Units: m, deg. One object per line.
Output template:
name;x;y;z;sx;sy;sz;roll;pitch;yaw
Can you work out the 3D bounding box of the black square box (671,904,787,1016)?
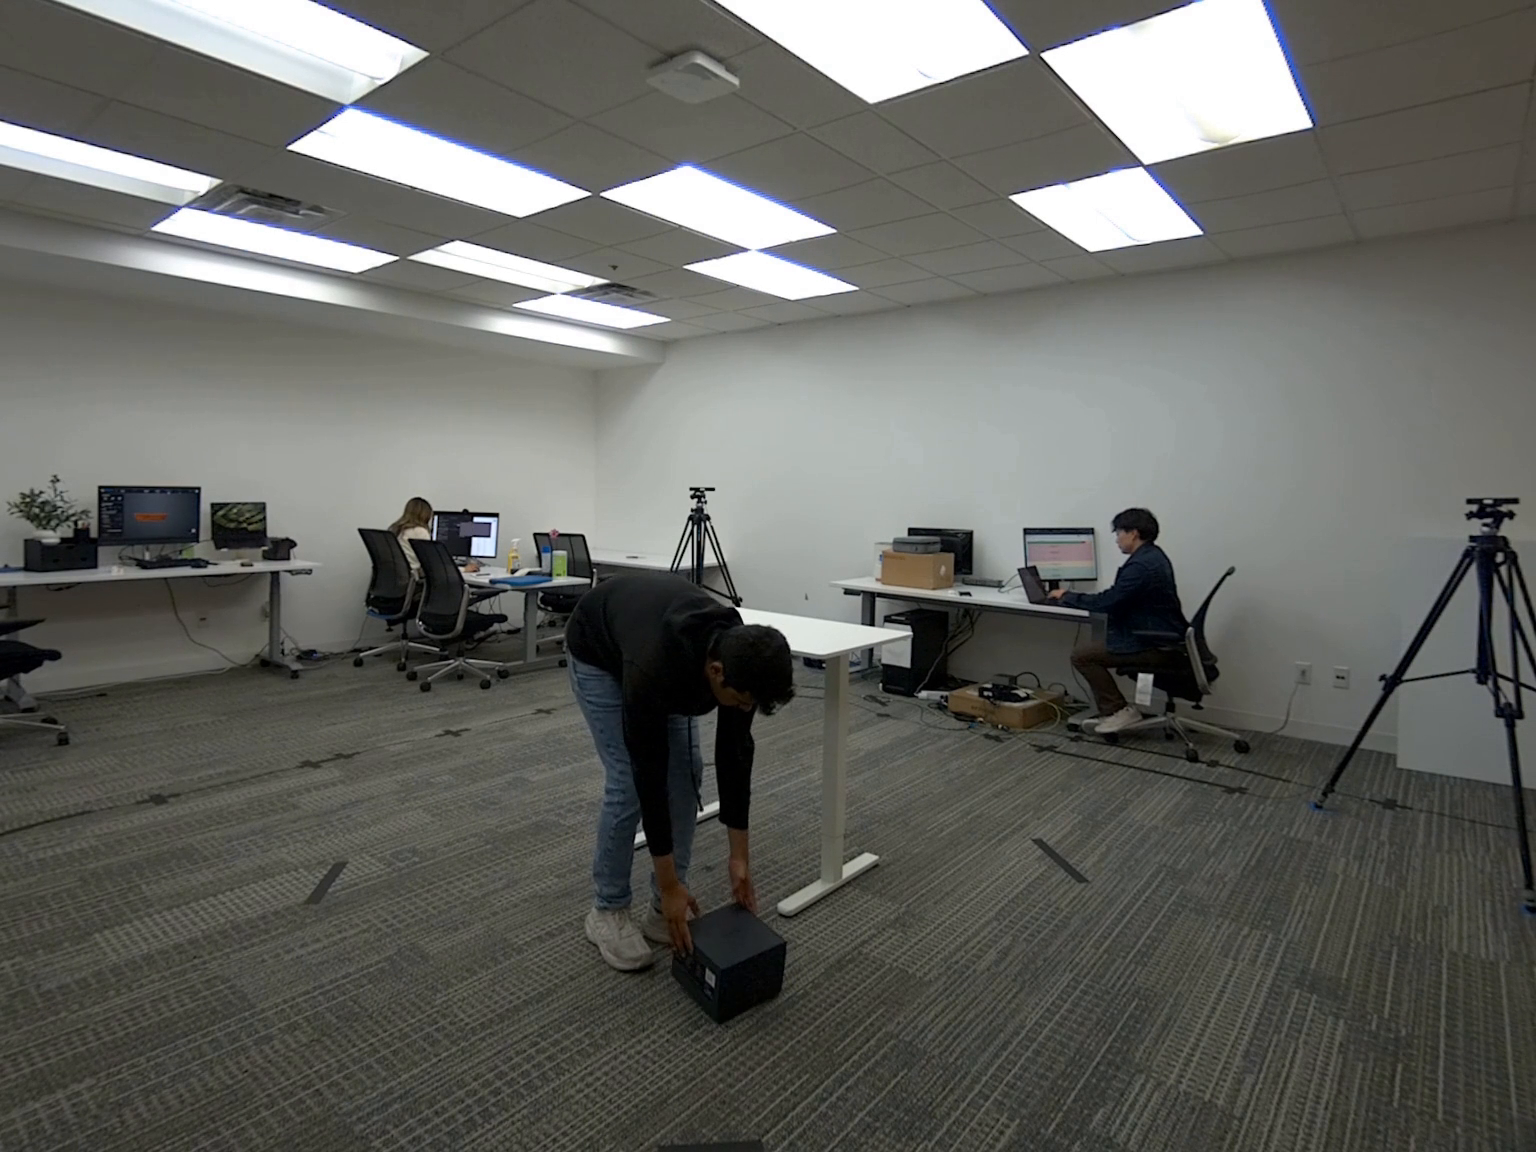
black square box;-0.110;1.020;2.333;0.221;0.155;0.225;-4;12;-41
